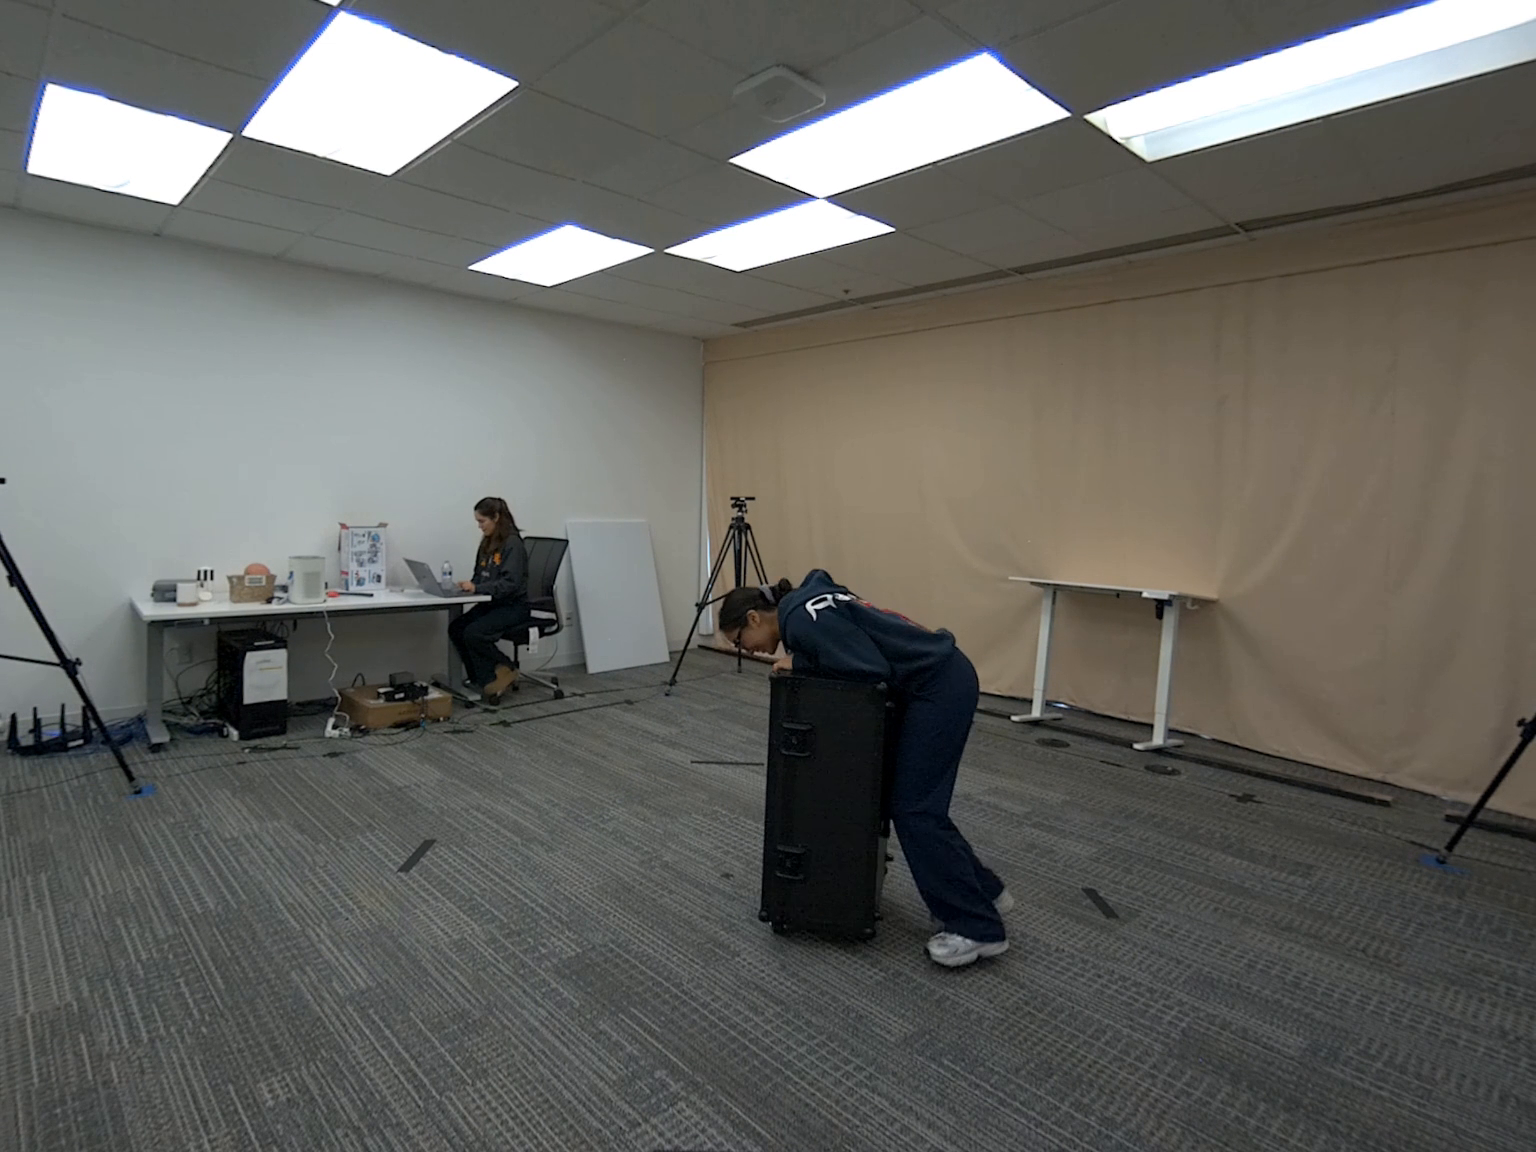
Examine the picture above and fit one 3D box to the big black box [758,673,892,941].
[{"bbox_3d":[0.221,0.722,2.802,0.401,0.859,0.516,4,3,13],"label":"big black box"}]
